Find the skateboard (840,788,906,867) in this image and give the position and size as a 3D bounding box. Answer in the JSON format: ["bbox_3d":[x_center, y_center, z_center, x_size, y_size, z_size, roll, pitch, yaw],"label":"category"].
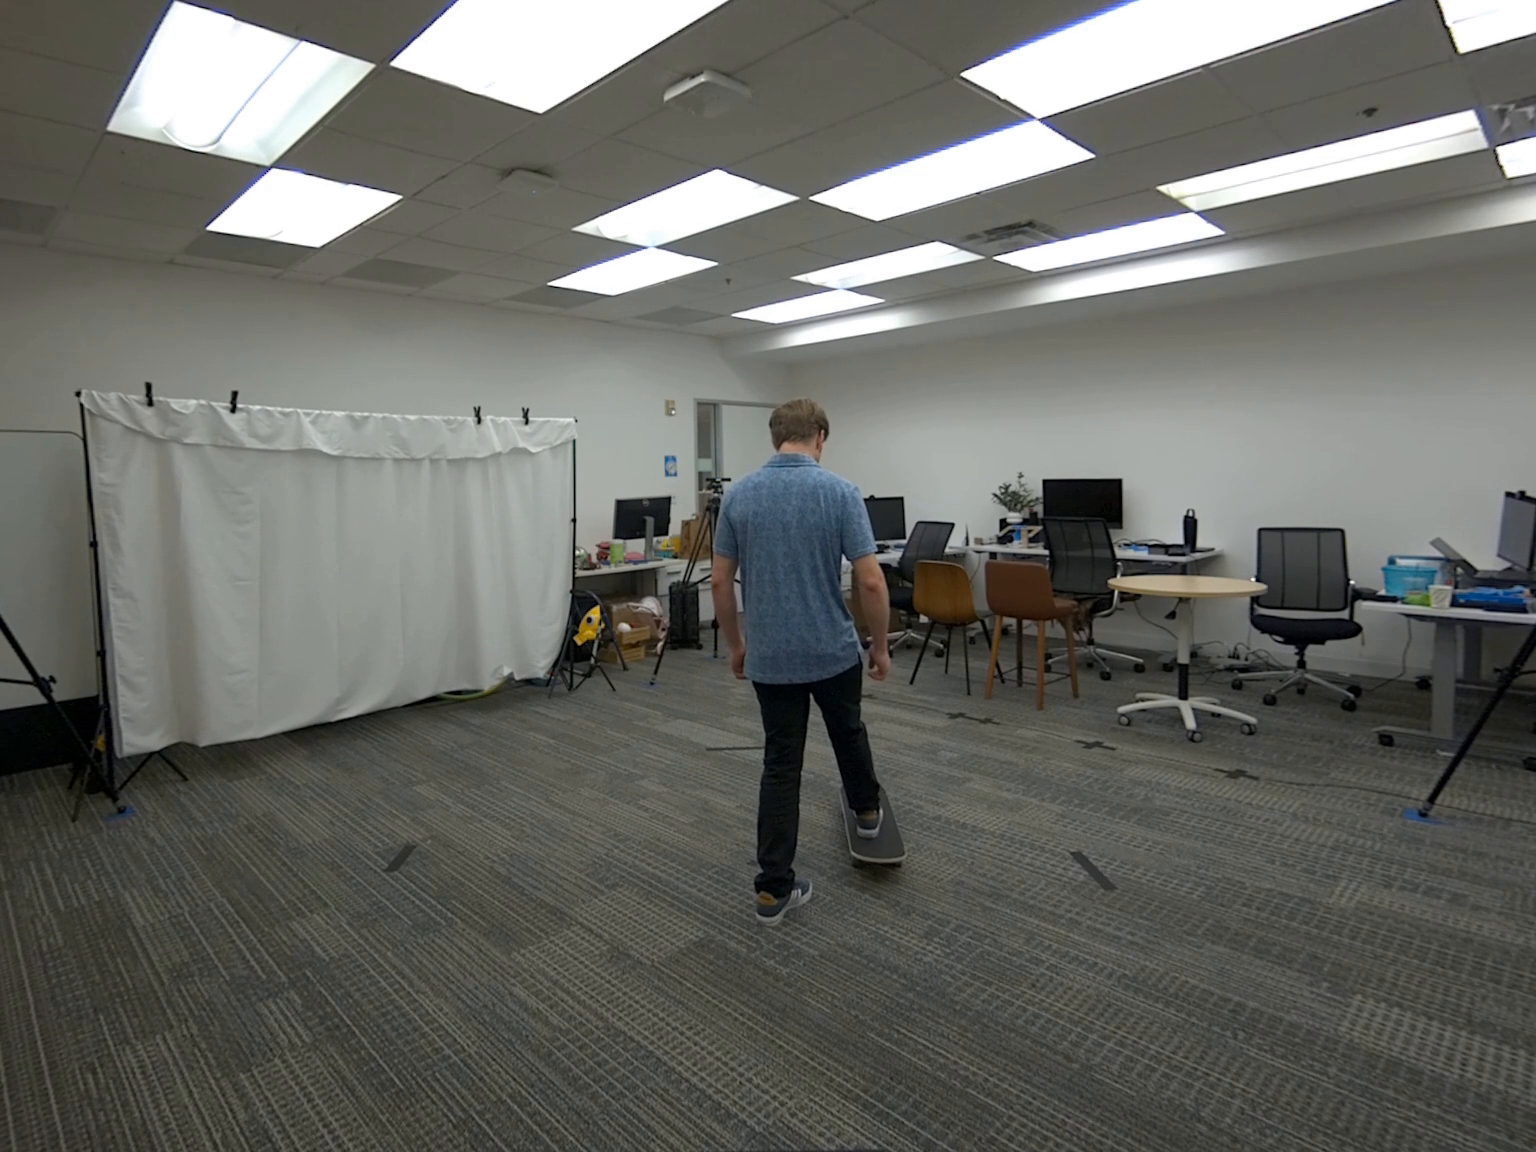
[{"bbox_3d":[0.390,0.958,3.256,0.194,0.110,0.787,-2,6,1],"label":"skateboard"}]
